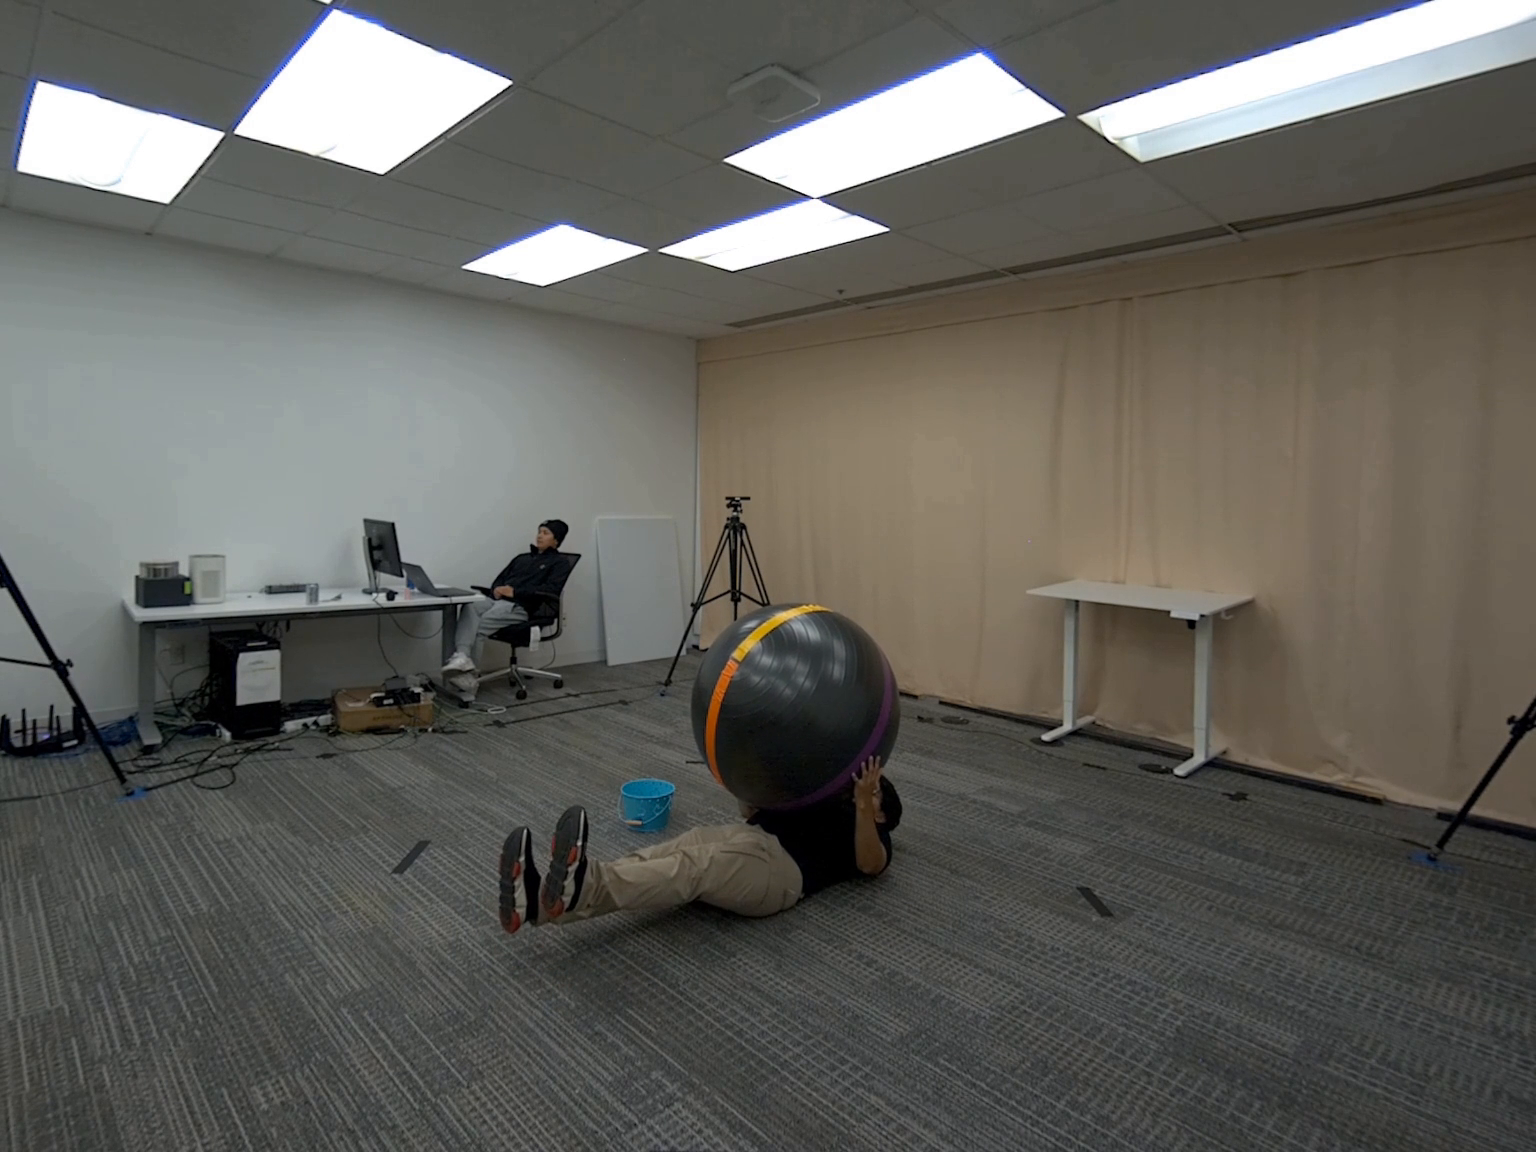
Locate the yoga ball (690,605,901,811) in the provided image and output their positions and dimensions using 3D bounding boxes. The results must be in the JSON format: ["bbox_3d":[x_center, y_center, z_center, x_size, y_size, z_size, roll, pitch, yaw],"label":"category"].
[{"bbox_3d":[0.090,0.481,3.062,0.757,0.755,0.761,1,5,-1],"label":"yoga ball"}]
